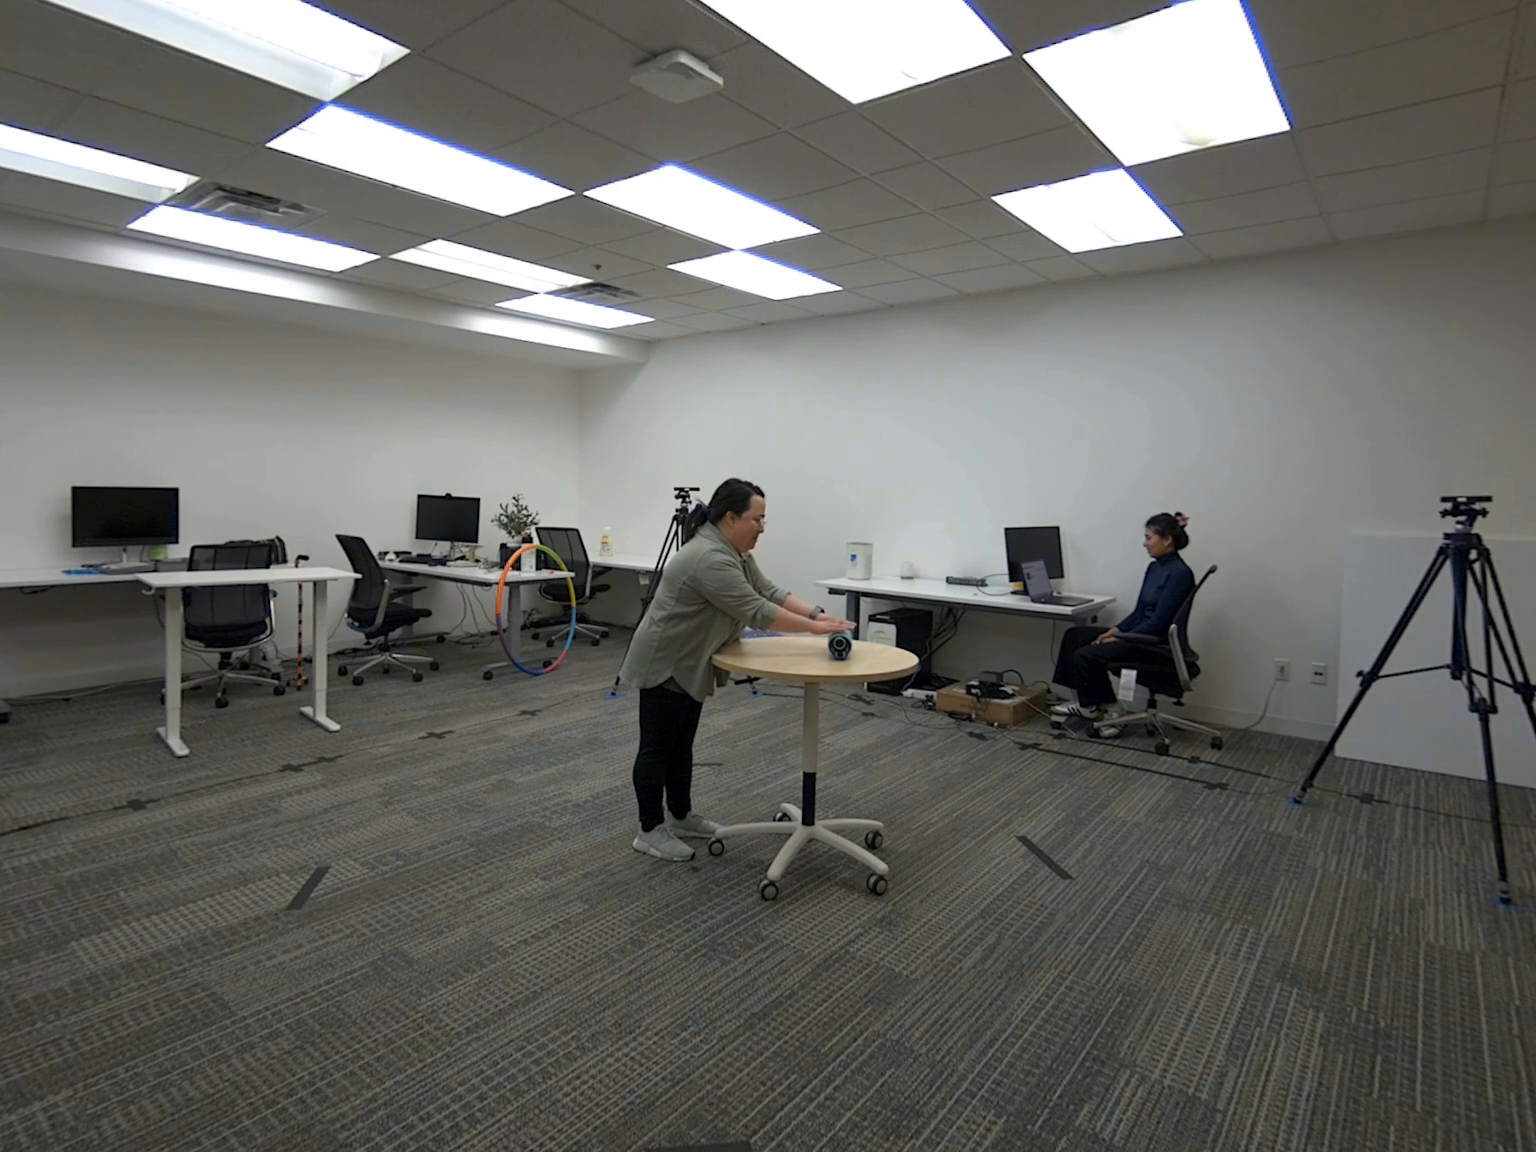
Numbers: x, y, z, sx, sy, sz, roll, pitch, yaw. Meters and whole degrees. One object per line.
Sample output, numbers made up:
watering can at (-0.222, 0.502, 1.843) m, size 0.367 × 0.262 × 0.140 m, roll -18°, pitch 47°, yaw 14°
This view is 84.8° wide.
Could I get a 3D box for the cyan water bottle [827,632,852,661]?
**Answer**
cyan water bottle at (0.259, 0.244, 3.153) m, size 0.093 × 0.092 × 0.283 m, roll 1°, pitch 5°, yaw 3°
